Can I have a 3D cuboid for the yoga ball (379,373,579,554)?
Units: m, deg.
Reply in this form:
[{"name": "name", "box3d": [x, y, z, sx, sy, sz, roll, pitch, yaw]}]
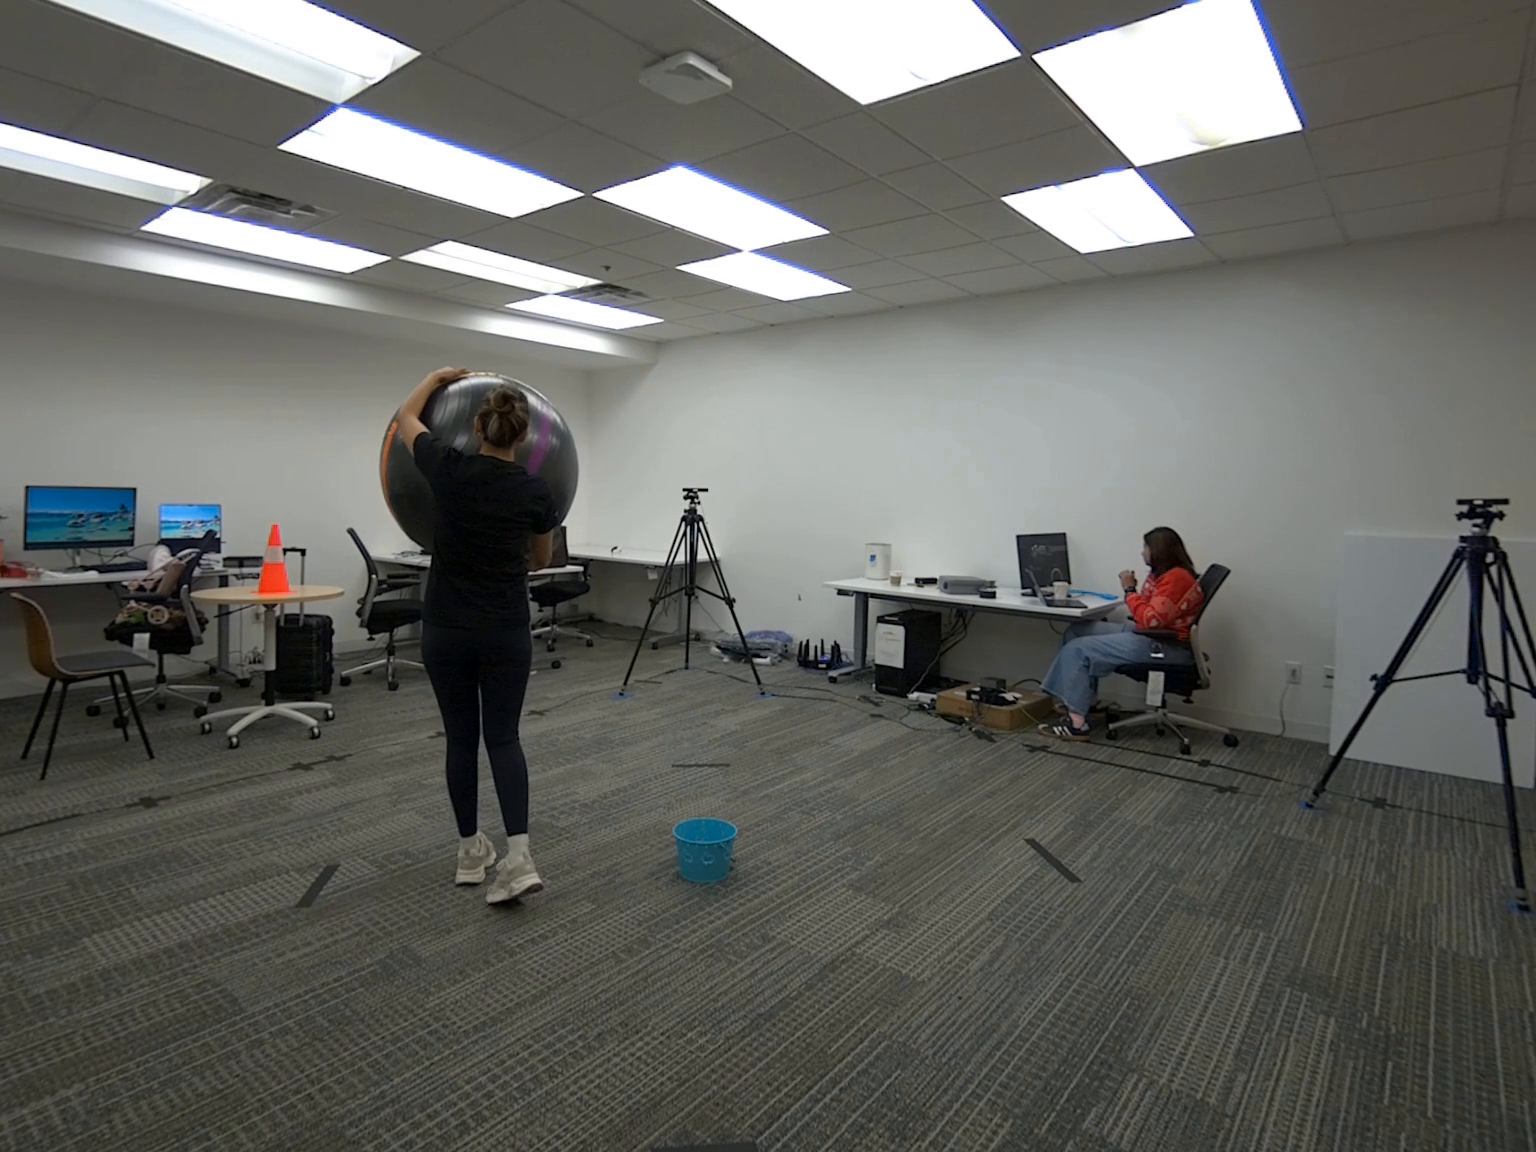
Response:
[{"name": "yoga ball", "box3d": [-1.152, -0.419, 3.360, 0.757, 0.756, 0.761, 1, 4, -2]}]
